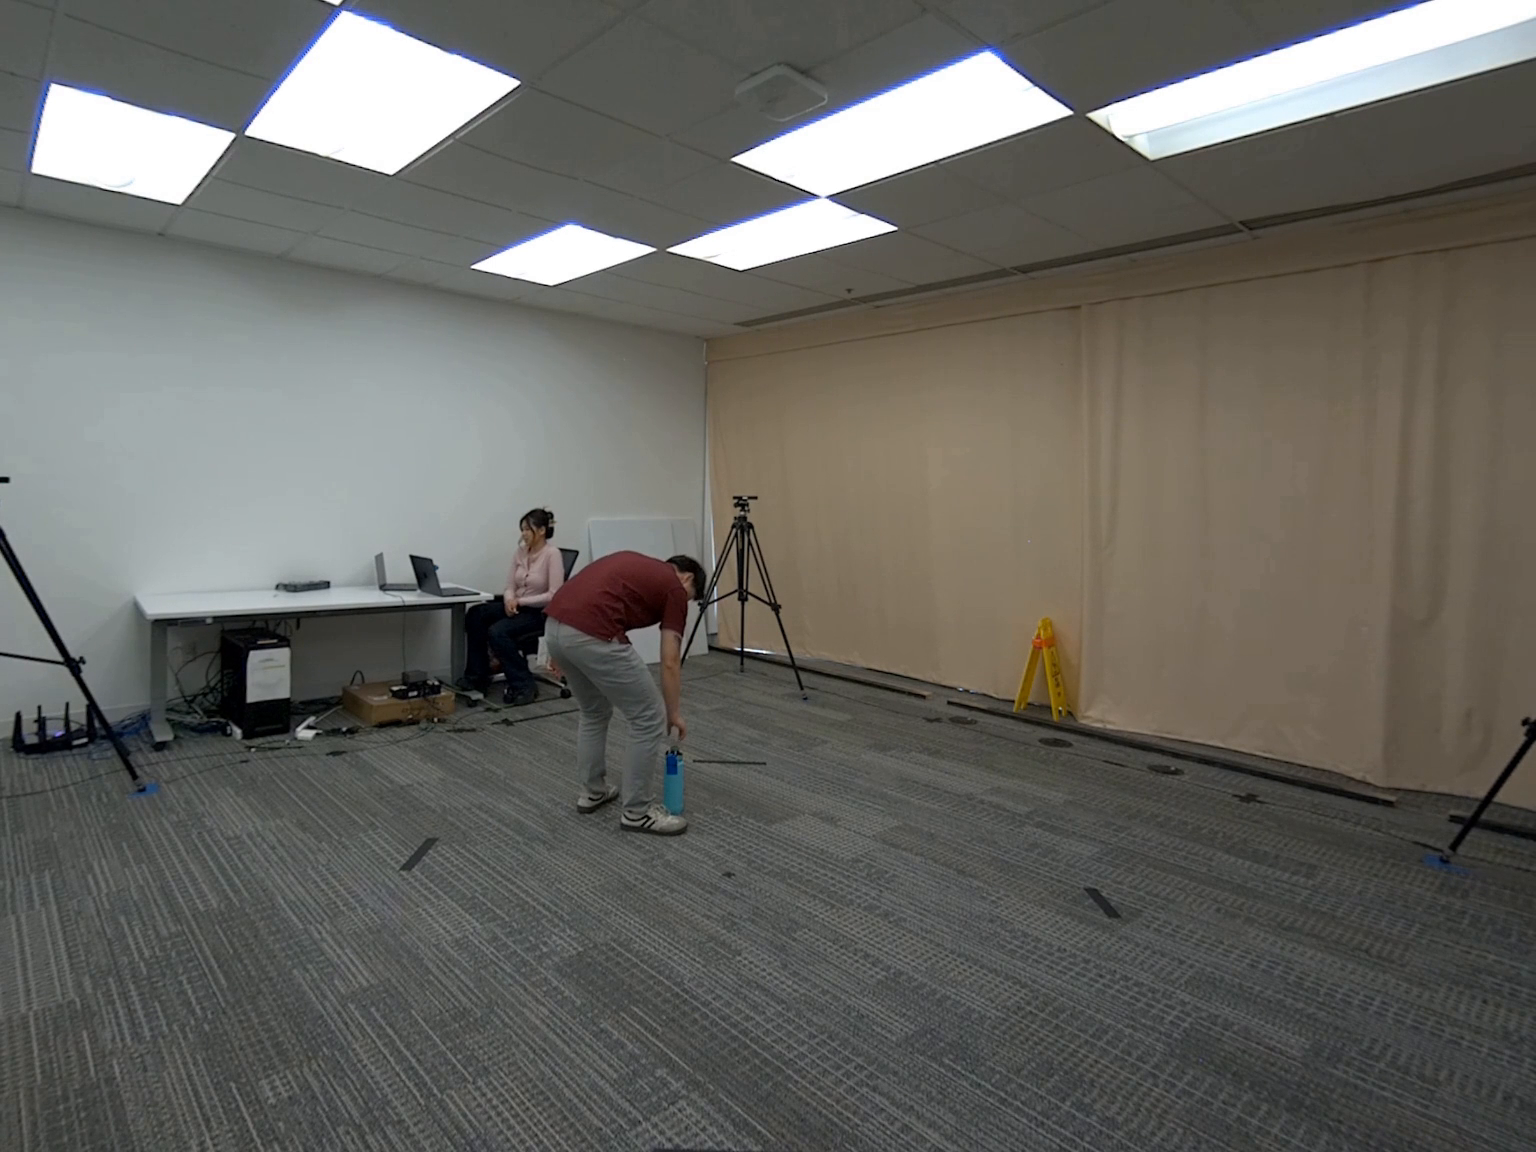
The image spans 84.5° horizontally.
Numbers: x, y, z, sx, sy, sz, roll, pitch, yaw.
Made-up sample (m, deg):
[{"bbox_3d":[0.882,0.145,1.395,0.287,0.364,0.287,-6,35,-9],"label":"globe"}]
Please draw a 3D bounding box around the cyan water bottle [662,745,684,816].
[{"bbox_3d":[-0.424,0.907,3.723,0.092,0.283,0.092,1,2,-1],"label":"cyan water bottle"}]
